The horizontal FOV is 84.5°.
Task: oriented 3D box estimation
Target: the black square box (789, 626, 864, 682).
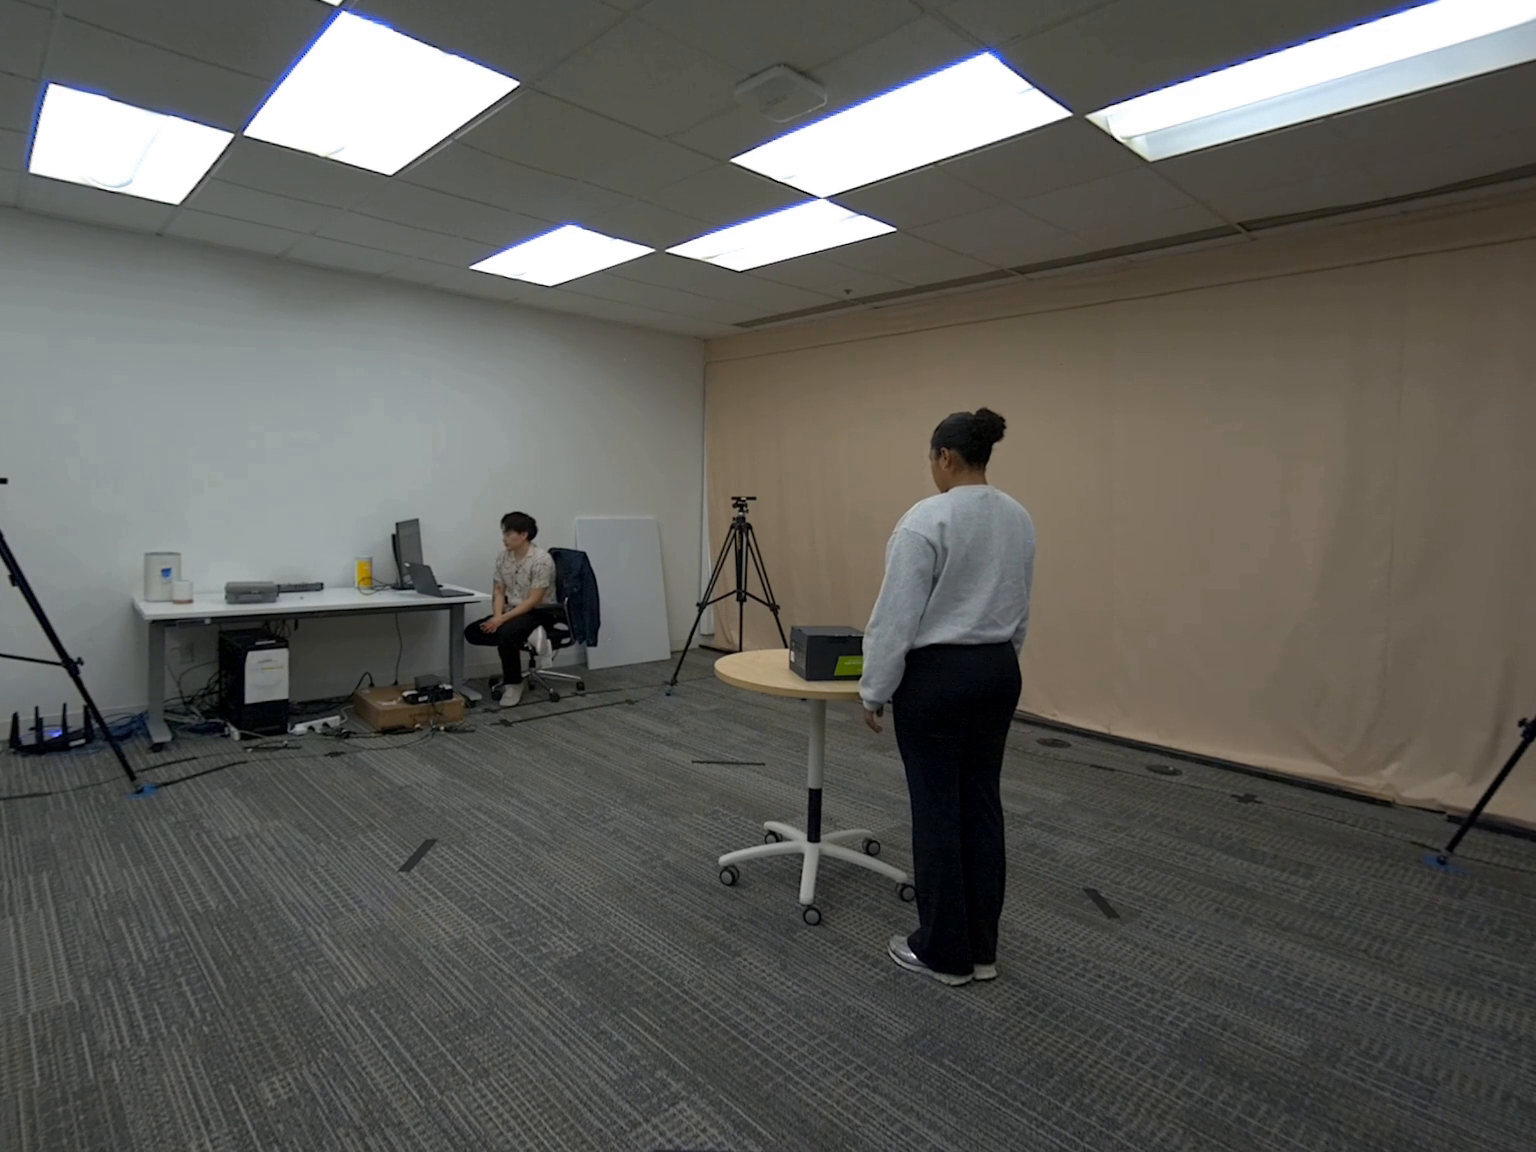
[{"bbox_3d":[0.211,0.265,2.941,0.226,0.155,0.219,1,4,-12],"label":"black square box"}]
